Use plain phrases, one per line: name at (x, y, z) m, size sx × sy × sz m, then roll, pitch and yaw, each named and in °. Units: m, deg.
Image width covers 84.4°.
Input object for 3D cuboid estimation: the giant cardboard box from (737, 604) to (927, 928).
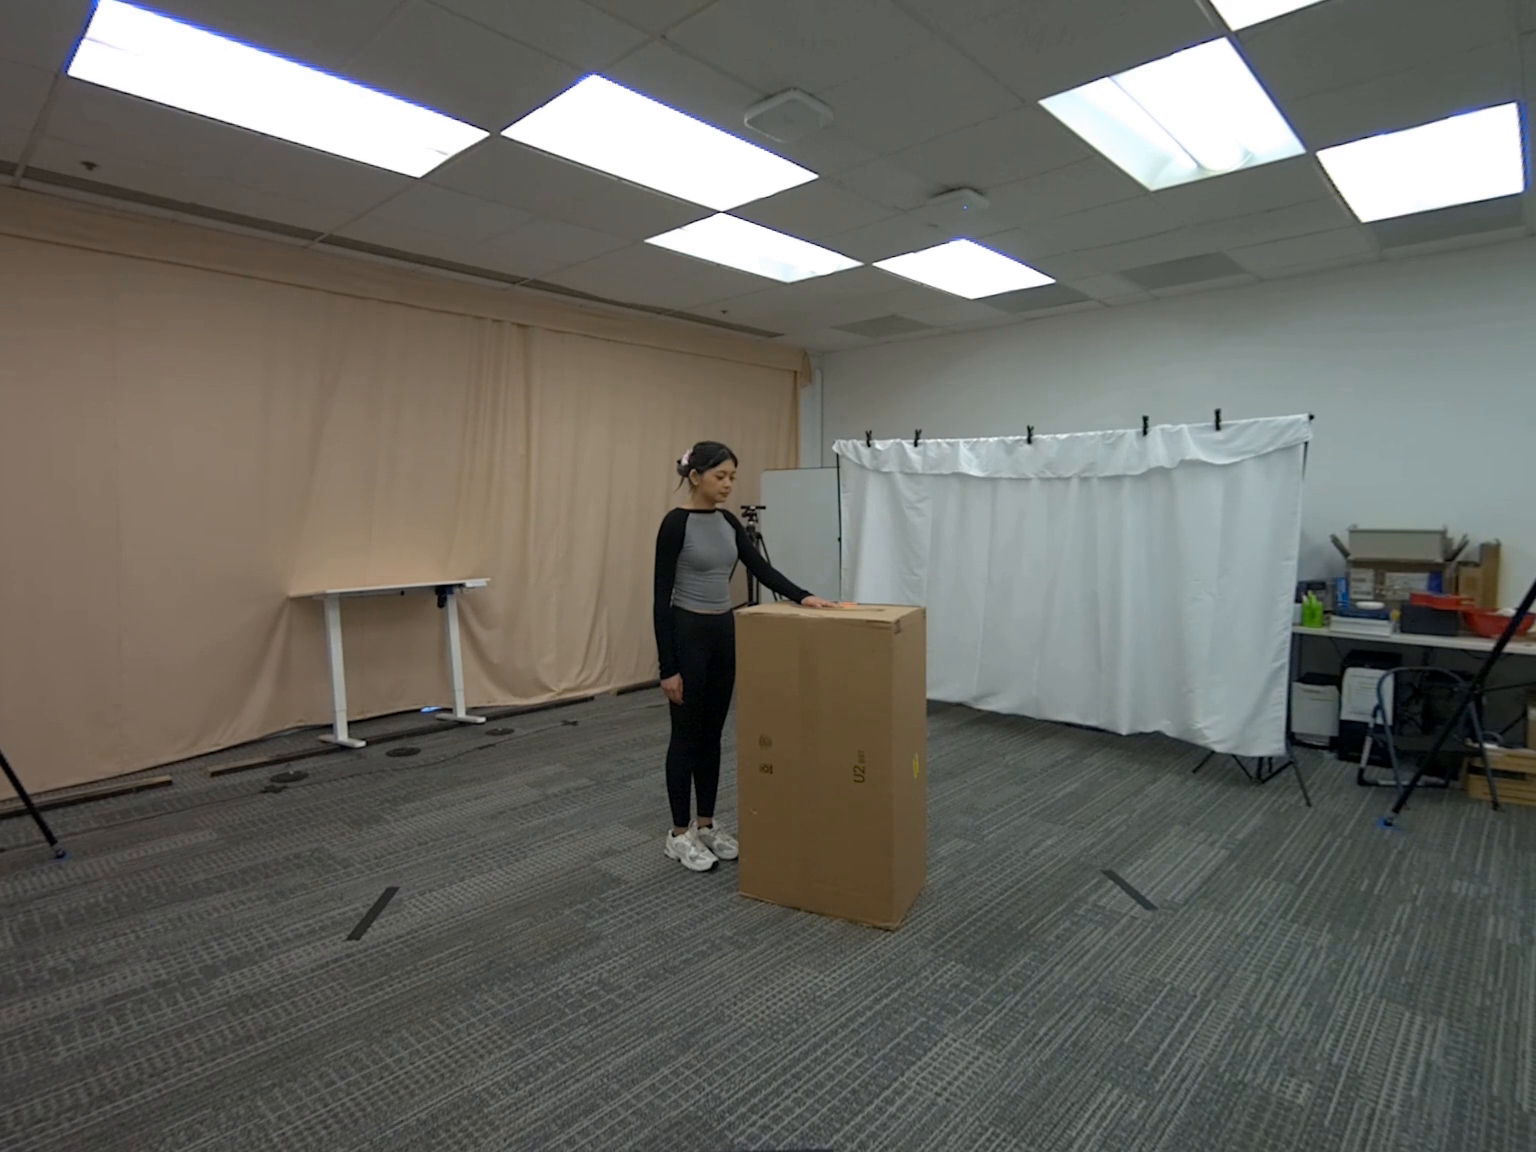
giant cardboard box at (0.244, 0.633, 3.039) m, size 0.599 × 1.024 × 0.436 m, roll 1°, pitch 4°, yaw 26°
